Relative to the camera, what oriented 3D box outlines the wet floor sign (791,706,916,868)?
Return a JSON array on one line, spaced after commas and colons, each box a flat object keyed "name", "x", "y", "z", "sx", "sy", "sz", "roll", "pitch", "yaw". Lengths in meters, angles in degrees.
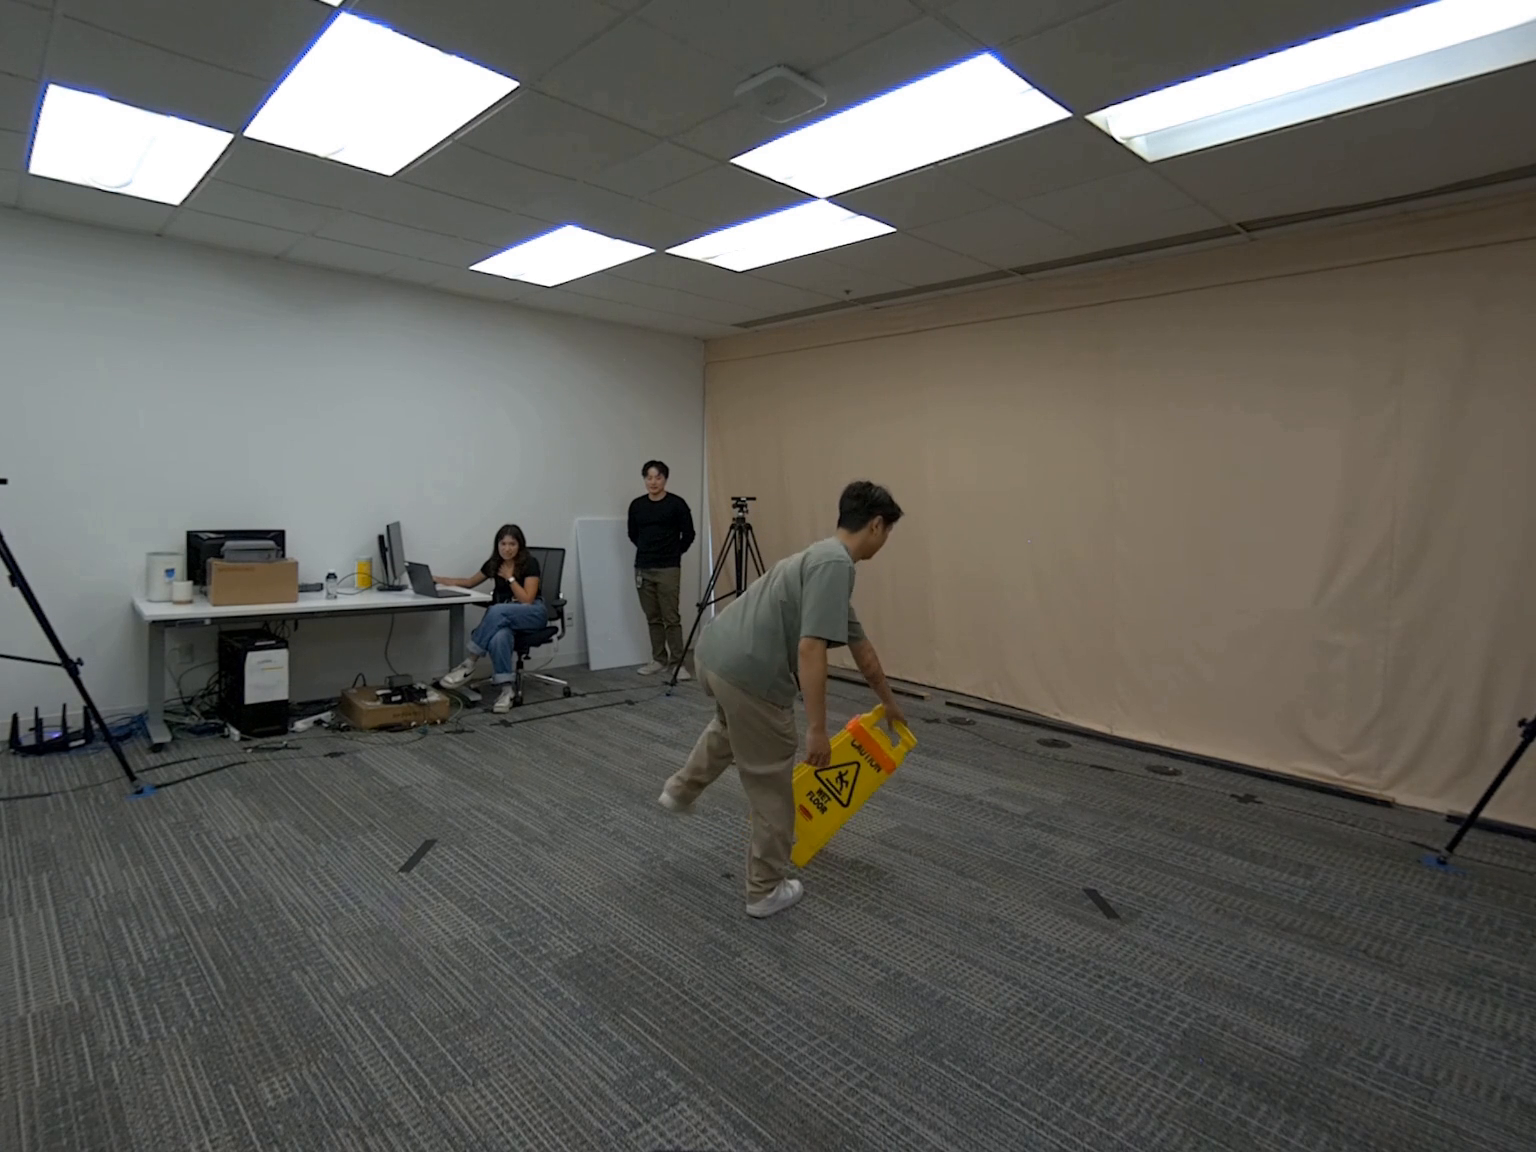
[{"name": "wet floor sign", "x": 0.261, "y": 0.775, "z": 3.264, "sx": 0.285, "sy": 0.646, "sz": 0.286, "roll": 46, "pitch": 13, "yaw": 9}]
